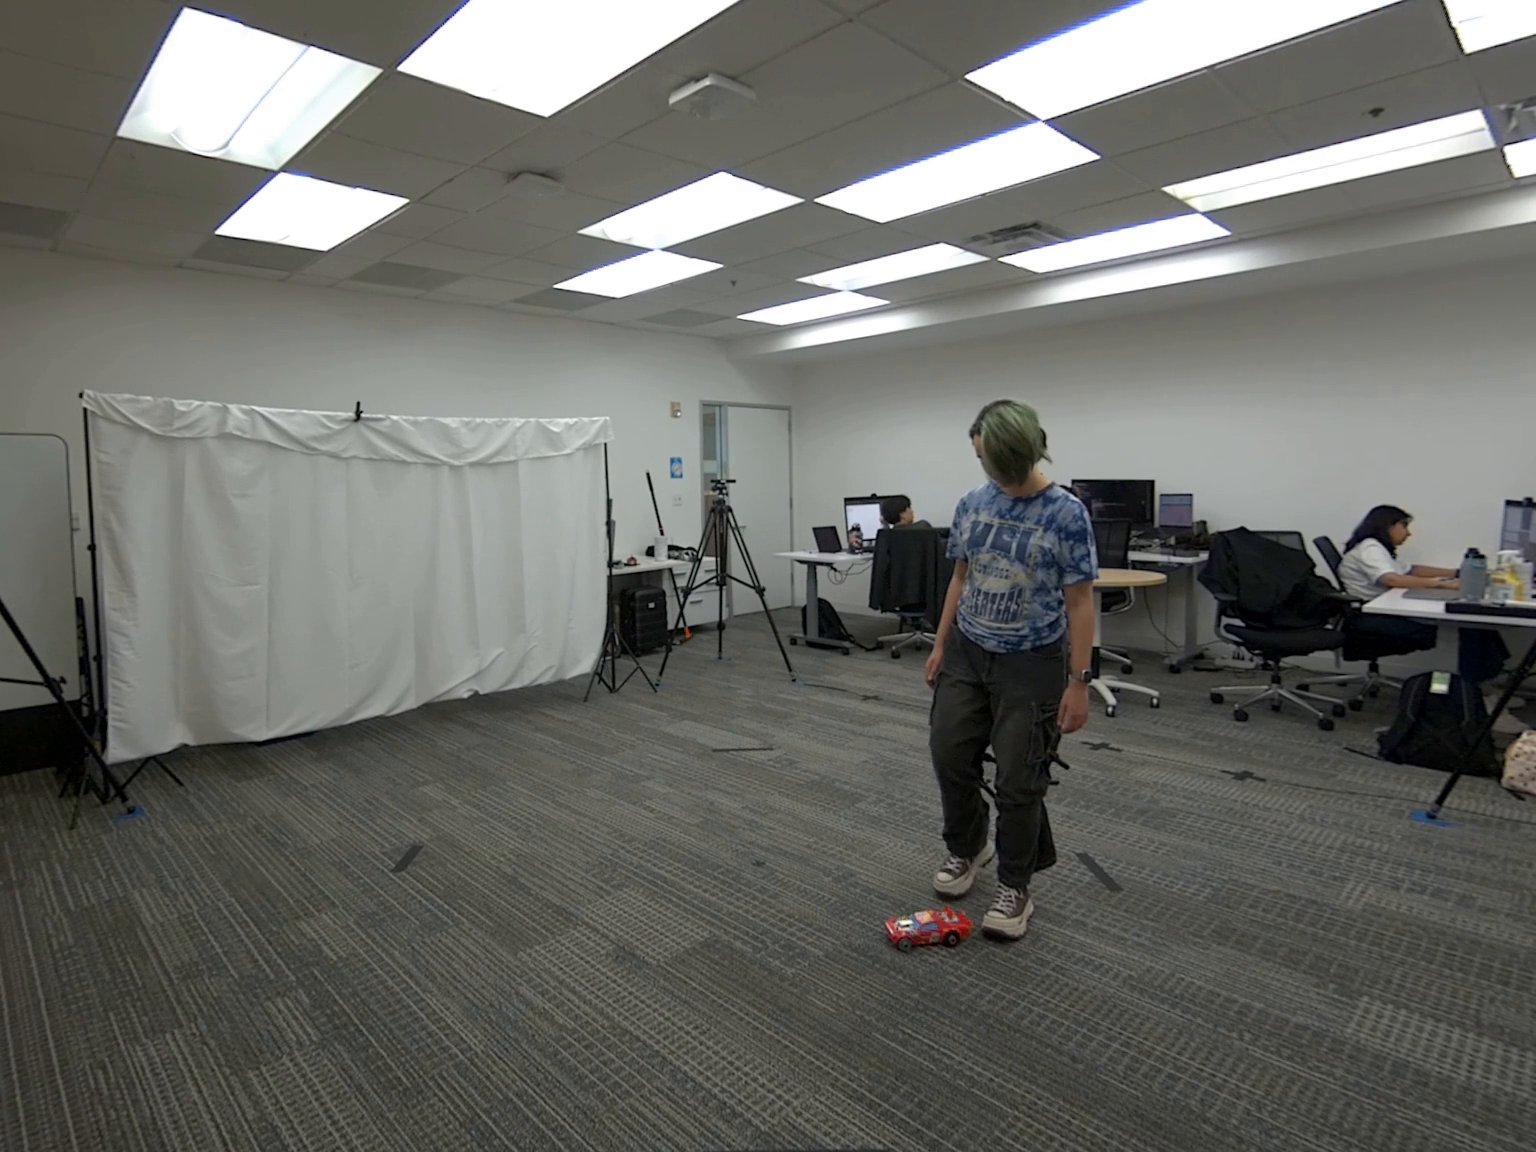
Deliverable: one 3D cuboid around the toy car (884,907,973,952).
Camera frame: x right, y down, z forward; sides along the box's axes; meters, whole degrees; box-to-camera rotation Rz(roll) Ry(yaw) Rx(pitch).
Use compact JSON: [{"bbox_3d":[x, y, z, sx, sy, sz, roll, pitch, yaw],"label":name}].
[{"bbox_3d":[0.494,1.067,2.575,0.253,0.083,0.132,-13,7,-6],"label":"toy car"}]
